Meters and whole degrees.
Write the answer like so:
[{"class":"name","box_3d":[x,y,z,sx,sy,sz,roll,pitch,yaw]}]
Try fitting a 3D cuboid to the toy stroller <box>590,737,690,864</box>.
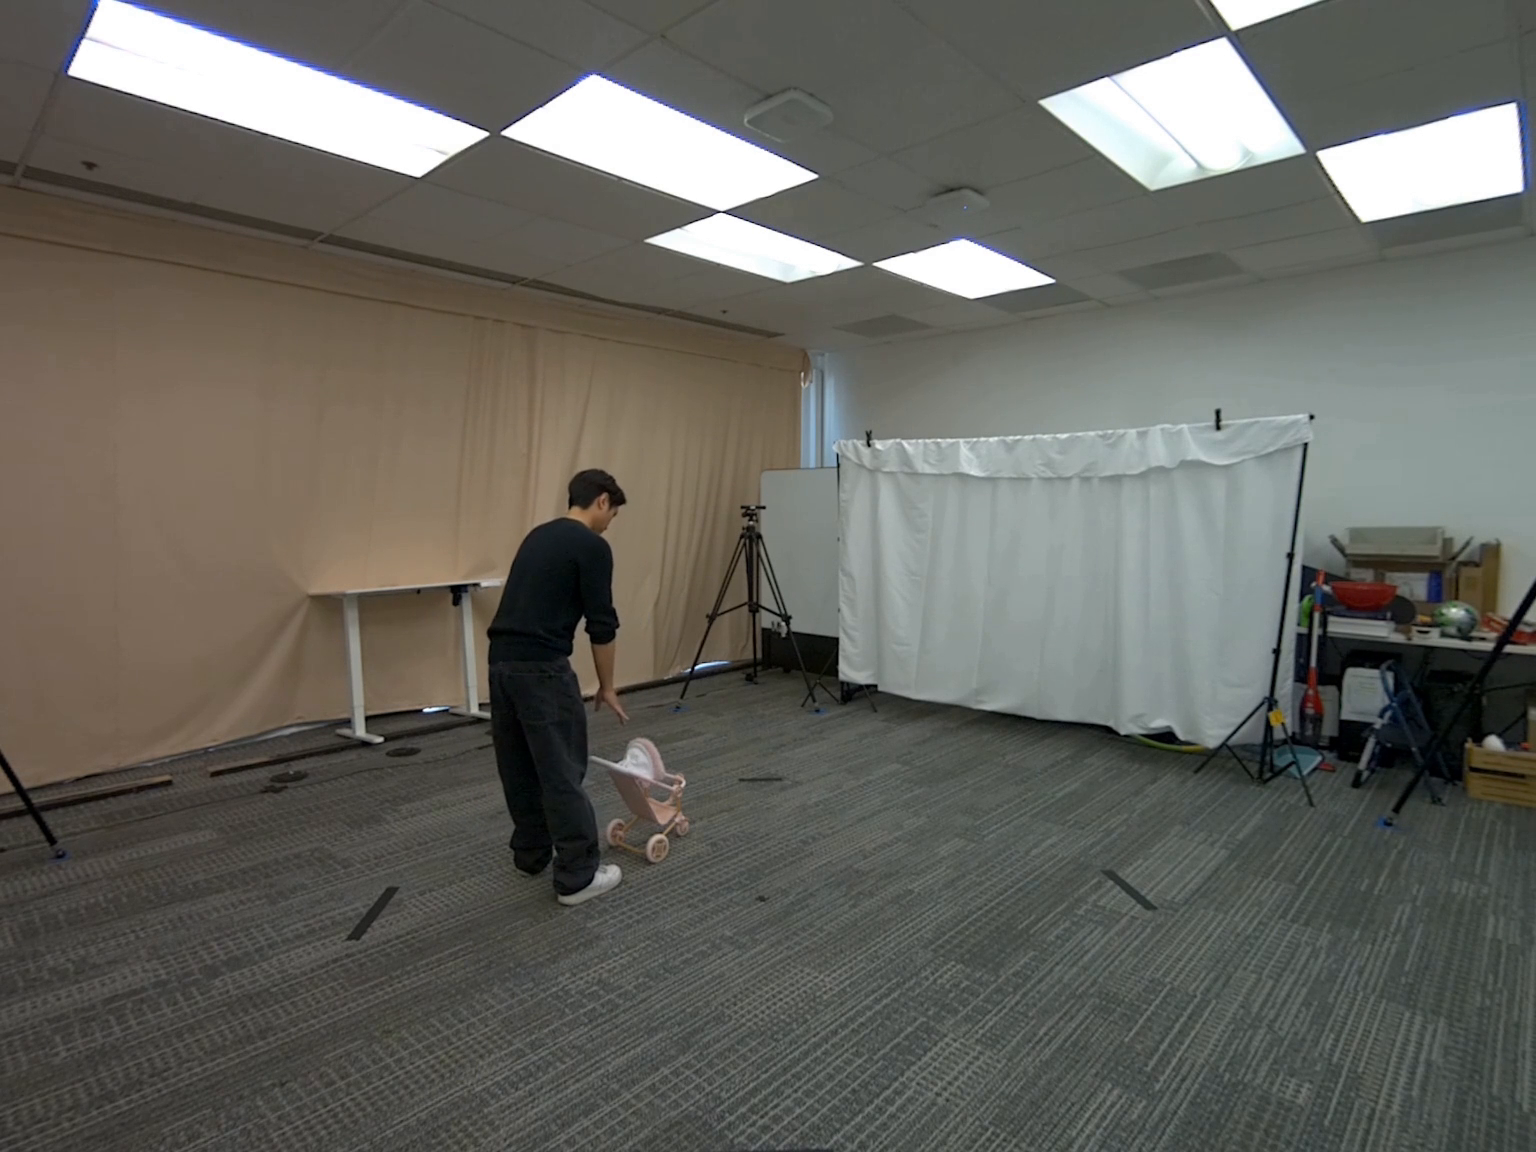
[{"class":"toy stroller","box_3d":[-0.490,0.892,3.412,0.291,0.528,0.334,4,23,46]}]
